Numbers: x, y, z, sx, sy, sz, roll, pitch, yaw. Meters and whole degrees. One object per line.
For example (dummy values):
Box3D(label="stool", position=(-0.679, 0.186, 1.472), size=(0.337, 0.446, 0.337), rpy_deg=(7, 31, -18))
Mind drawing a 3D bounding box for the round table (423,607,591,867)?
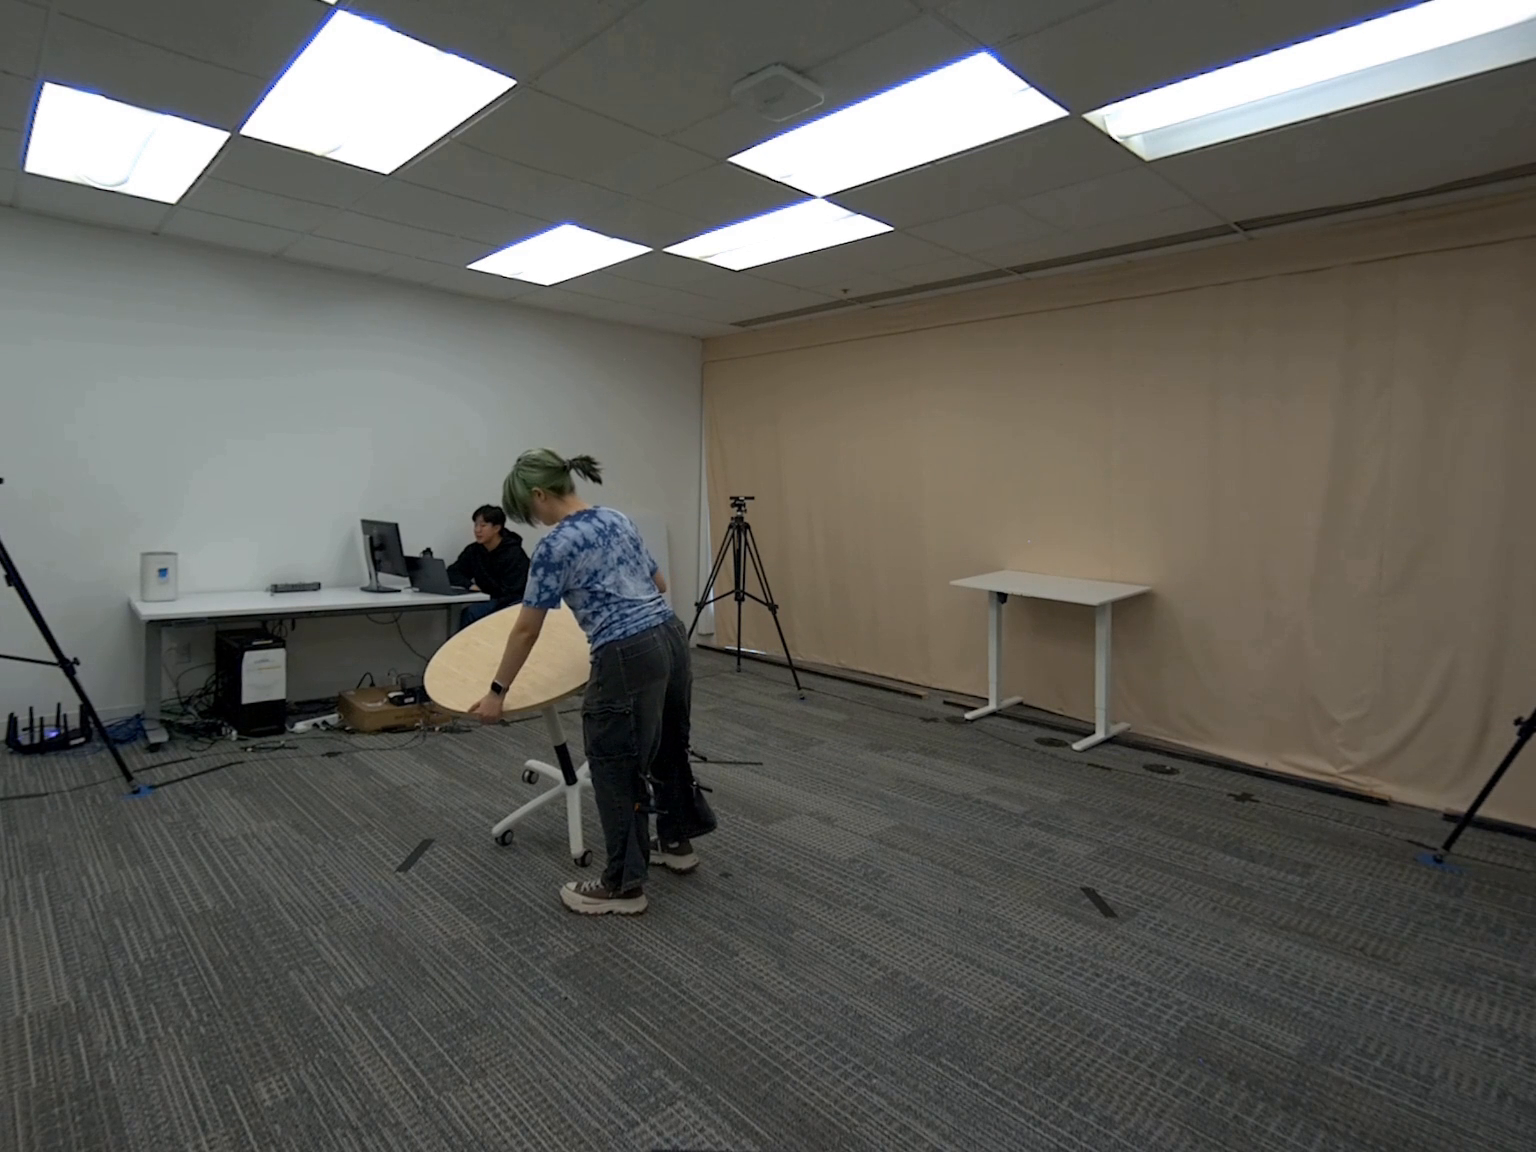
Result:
Box3D(label="round table", position=(-0.841, 0.614, 3.298), size=(0.766, 0.778, 0.777), rpy_deg=(-9, 26, 3))
